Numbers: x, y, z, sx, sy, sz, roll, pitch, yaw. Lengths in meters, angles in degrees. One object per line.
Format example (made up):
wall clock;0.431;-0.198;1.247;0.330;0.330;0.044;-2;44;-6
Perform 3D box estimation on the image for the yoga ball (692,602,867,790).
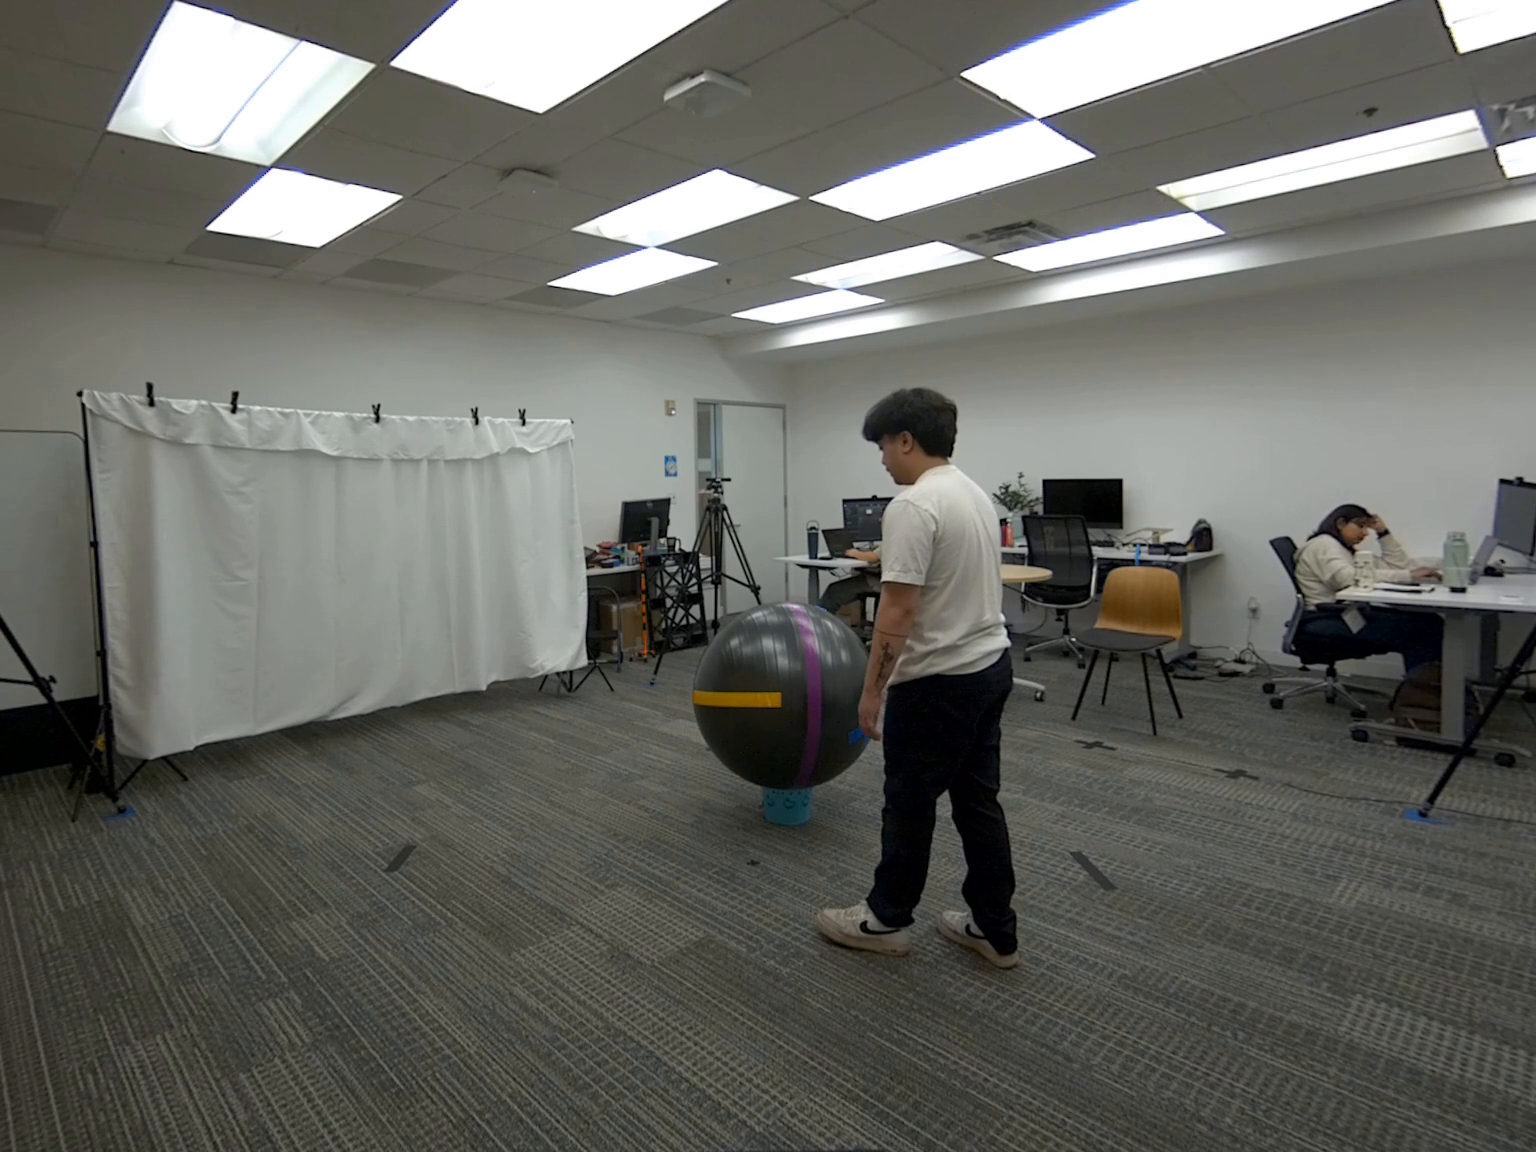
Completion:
yoga ball;0.073;0.483;3.501;0.757;0.755;0.762;-1;5;-2
